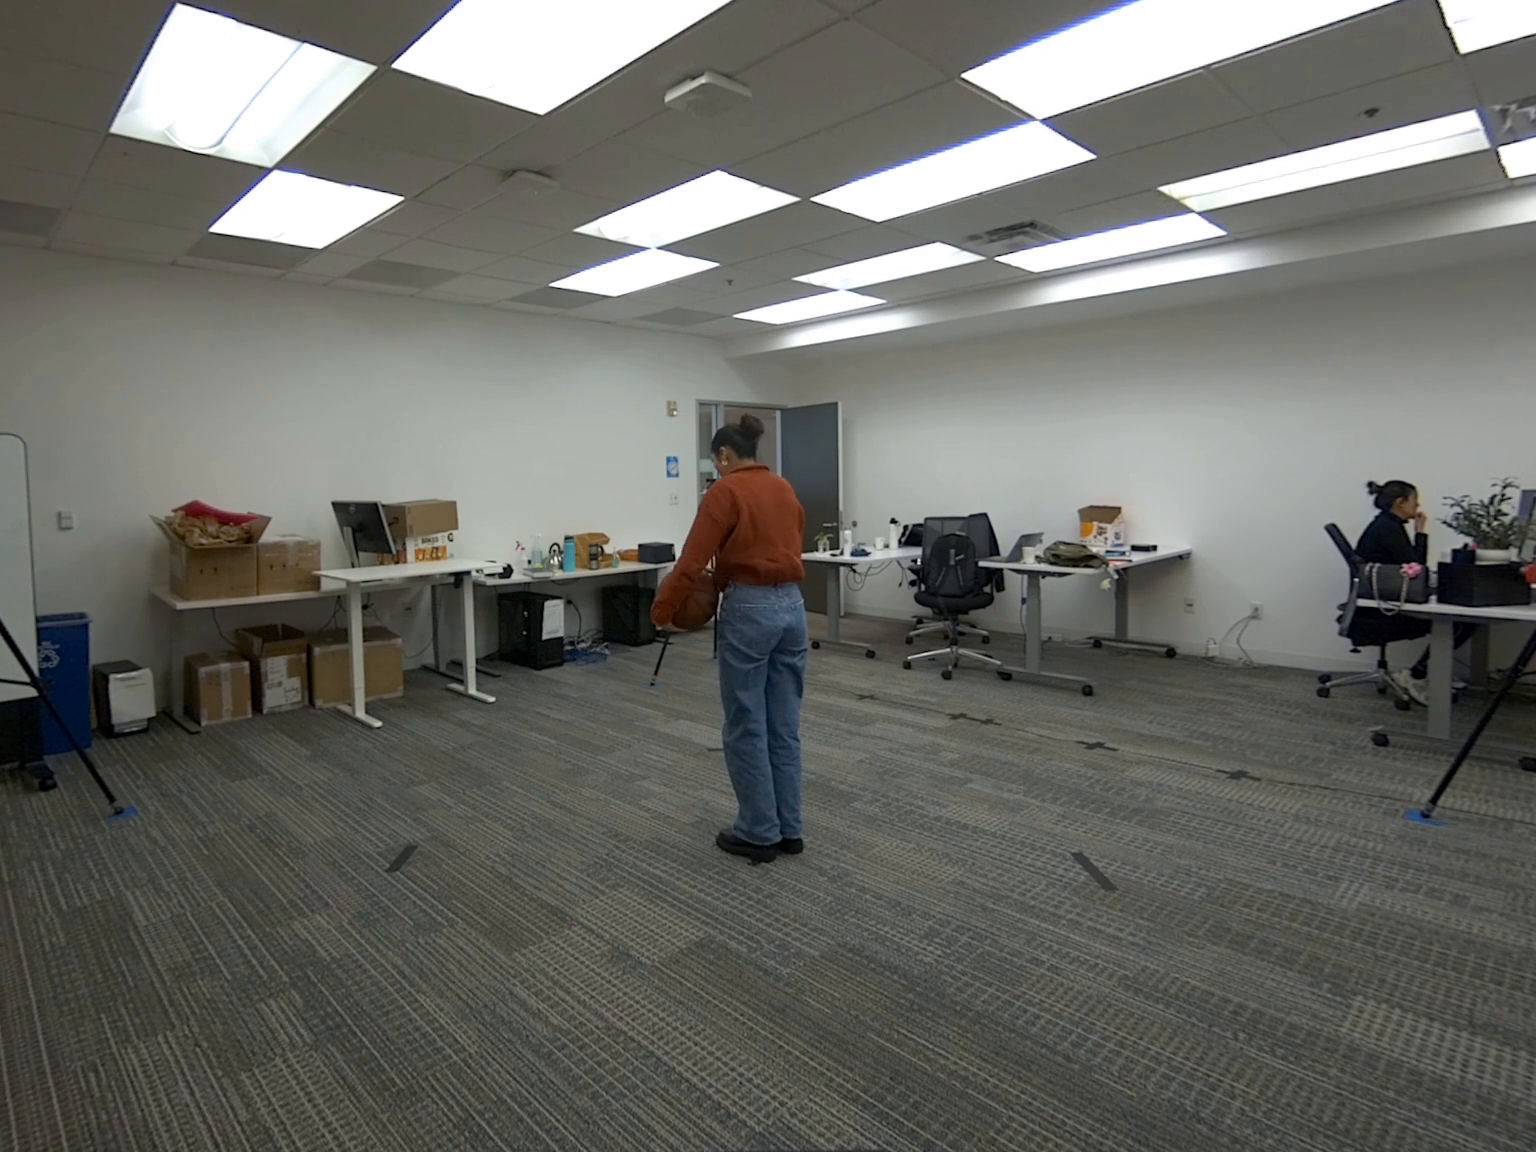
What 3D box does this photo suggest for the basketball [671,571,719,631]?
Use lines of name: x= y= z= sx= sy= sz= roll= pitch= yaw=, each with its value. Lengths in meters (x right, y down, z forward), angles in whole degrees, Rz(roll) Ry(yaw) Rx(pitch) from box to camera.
basketball: x=-0.281 y=0.094 z=3.200 sx=0.236 sy=0.235 sz=0.237 roll=-1 pitch=5 yaw=-2
